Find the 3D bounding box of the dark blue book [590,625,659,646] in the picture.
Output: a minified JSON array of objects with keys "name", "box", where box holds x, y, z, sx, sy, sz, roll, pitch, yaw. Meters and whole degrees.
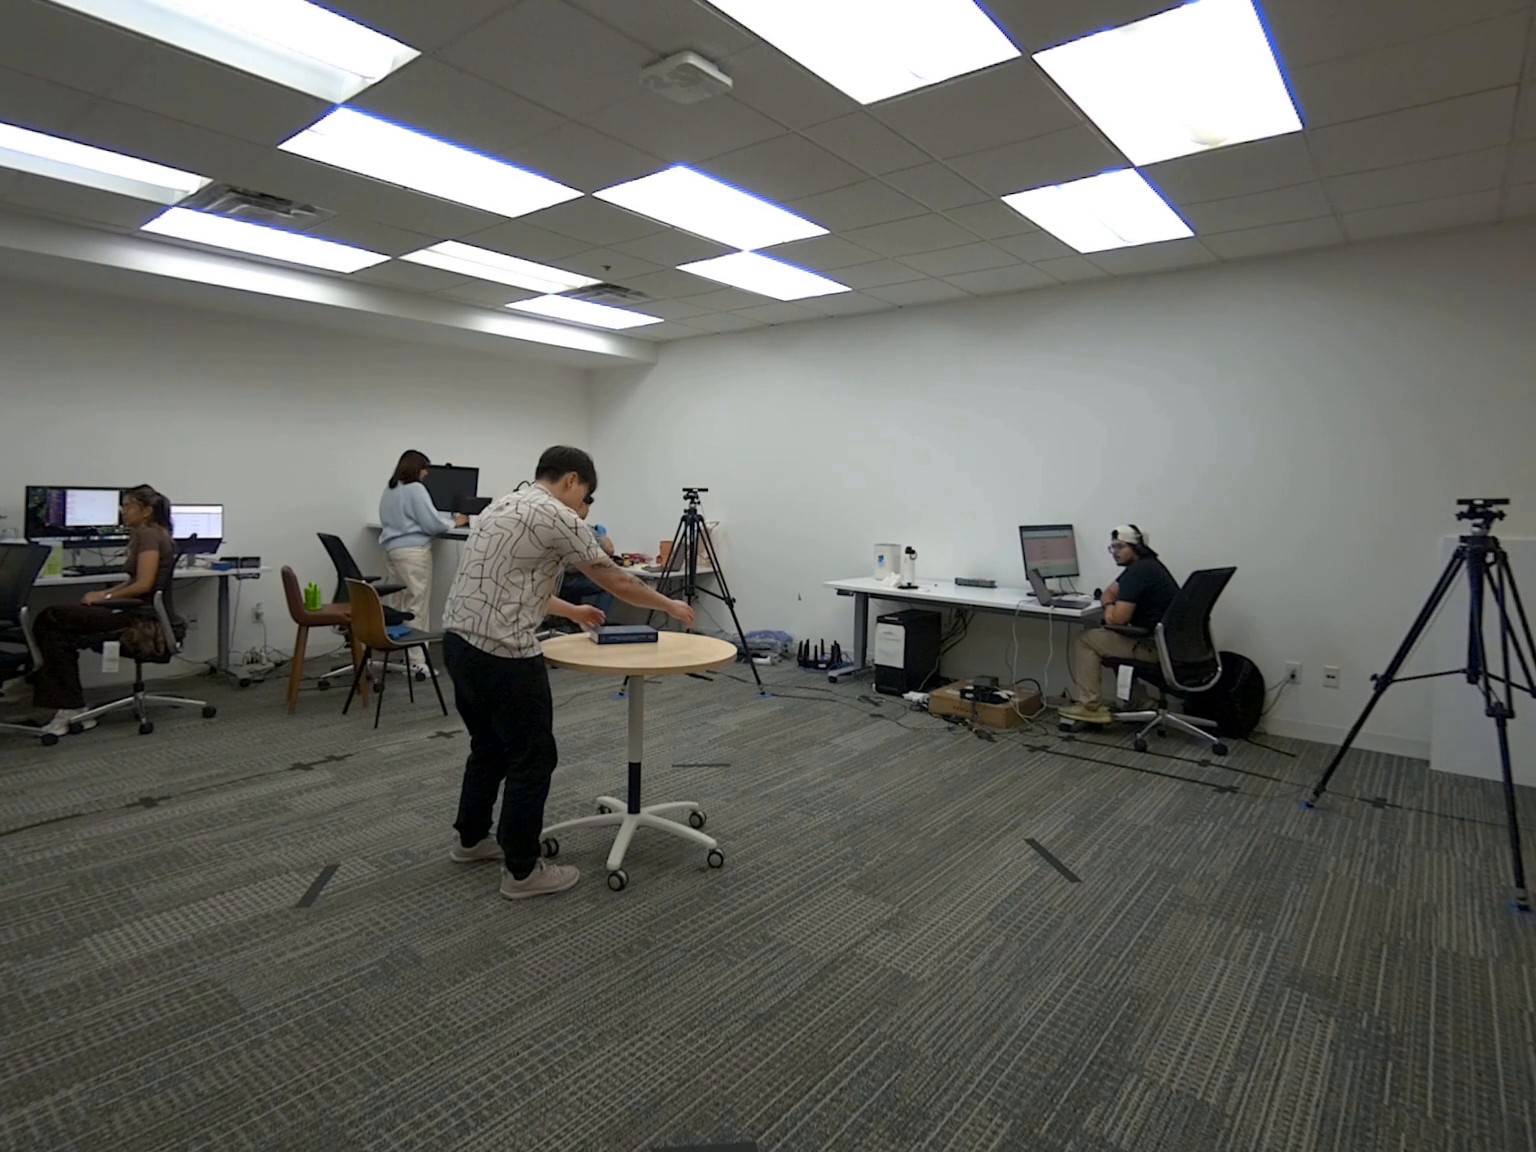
[{"name":"dark blue book","box":[-0.587,0.235,3.395,0.240,0.045,0.167,-1,5,-22]}]
